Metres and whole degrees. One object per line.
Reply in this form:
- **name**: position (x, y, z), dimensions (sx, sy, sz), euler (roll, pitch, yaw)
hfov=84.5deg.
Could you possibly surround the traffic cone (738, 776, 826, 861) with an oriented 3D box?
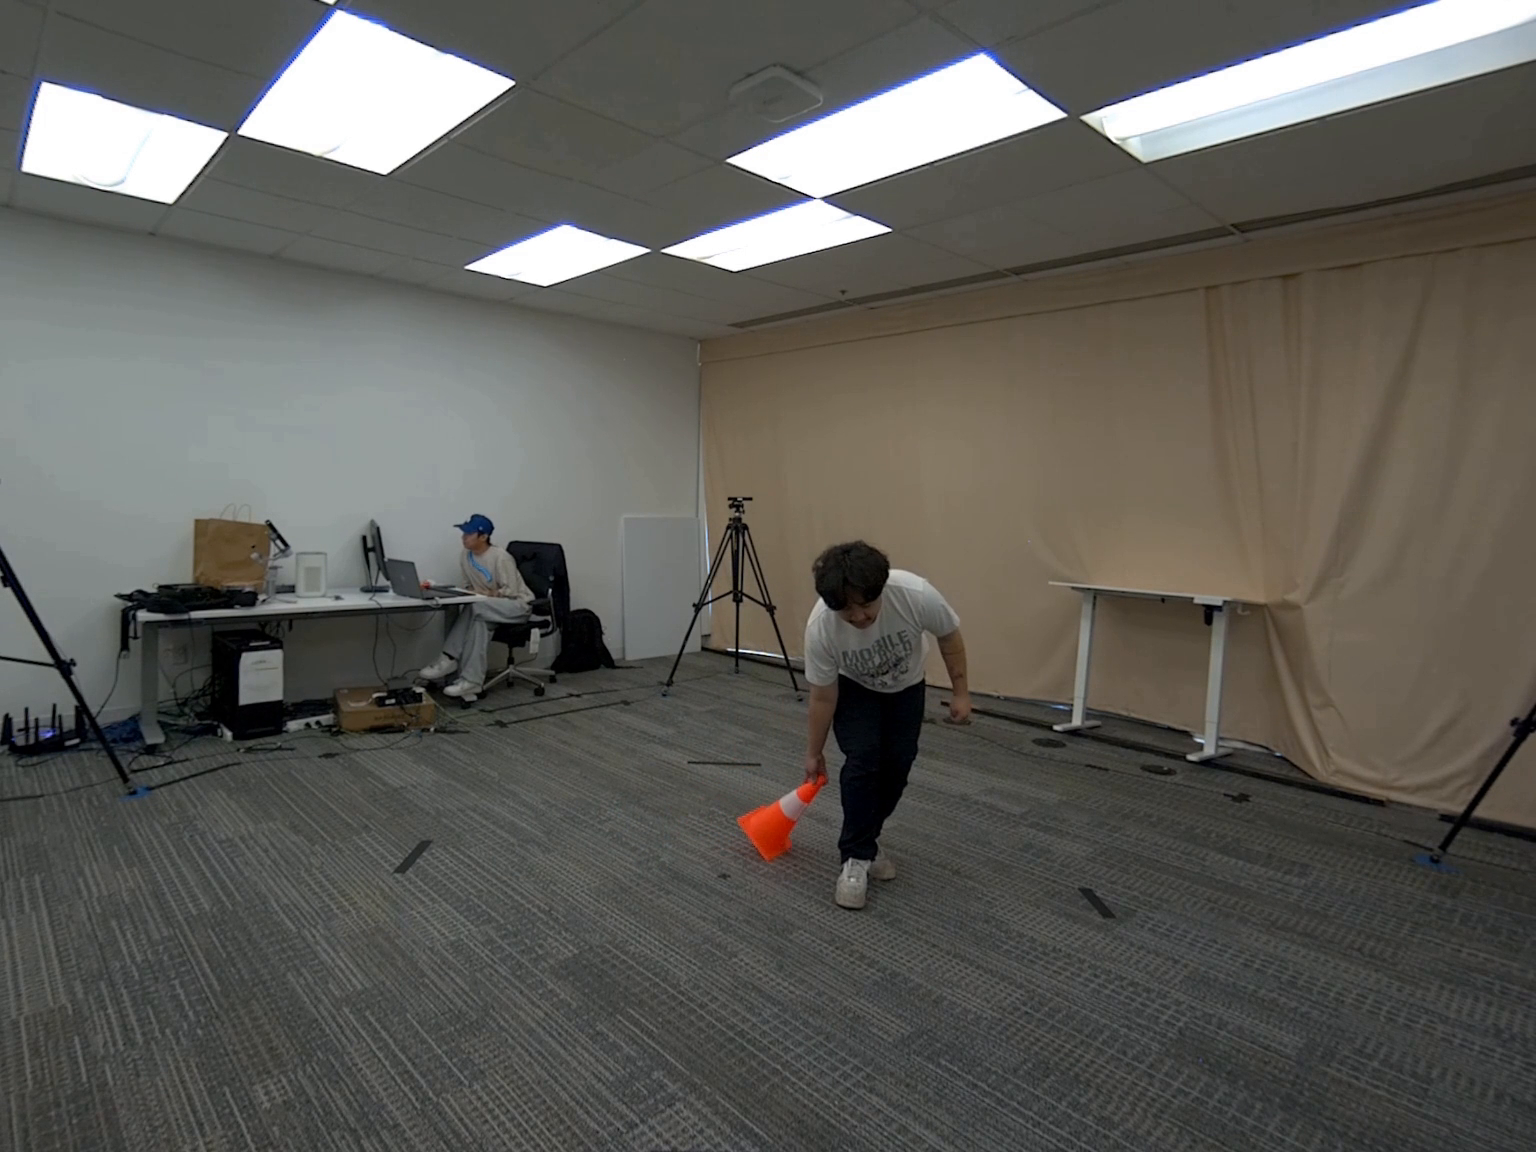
- **traffic cone**: position (0.090, 0.891, 3.262), dimensions (0.206, 0.383, 0.203), euler (43, 26, 11)
